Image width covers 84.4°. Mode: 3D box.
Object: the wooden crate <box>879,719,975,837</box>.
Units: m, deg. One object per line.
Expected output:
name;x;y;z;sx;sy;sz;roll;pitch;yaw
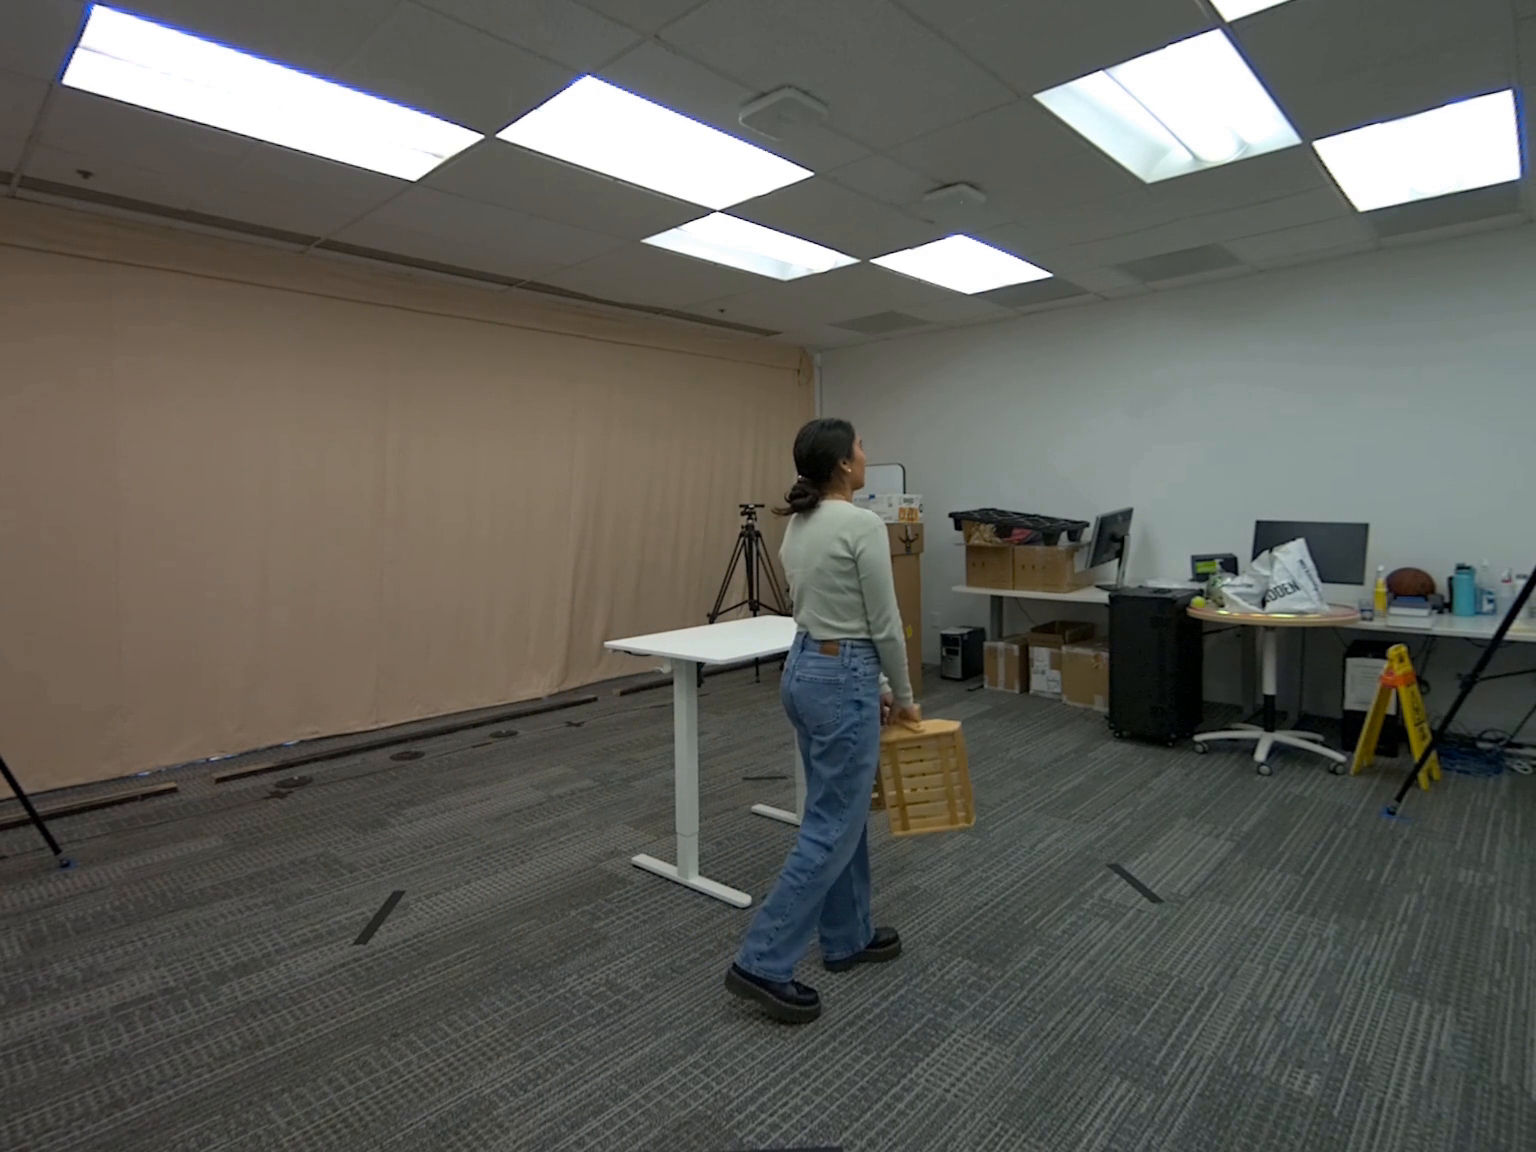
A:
wooden crate;0.441;0.567;2.528;0.304;0.322;0.274;-10;11;5
